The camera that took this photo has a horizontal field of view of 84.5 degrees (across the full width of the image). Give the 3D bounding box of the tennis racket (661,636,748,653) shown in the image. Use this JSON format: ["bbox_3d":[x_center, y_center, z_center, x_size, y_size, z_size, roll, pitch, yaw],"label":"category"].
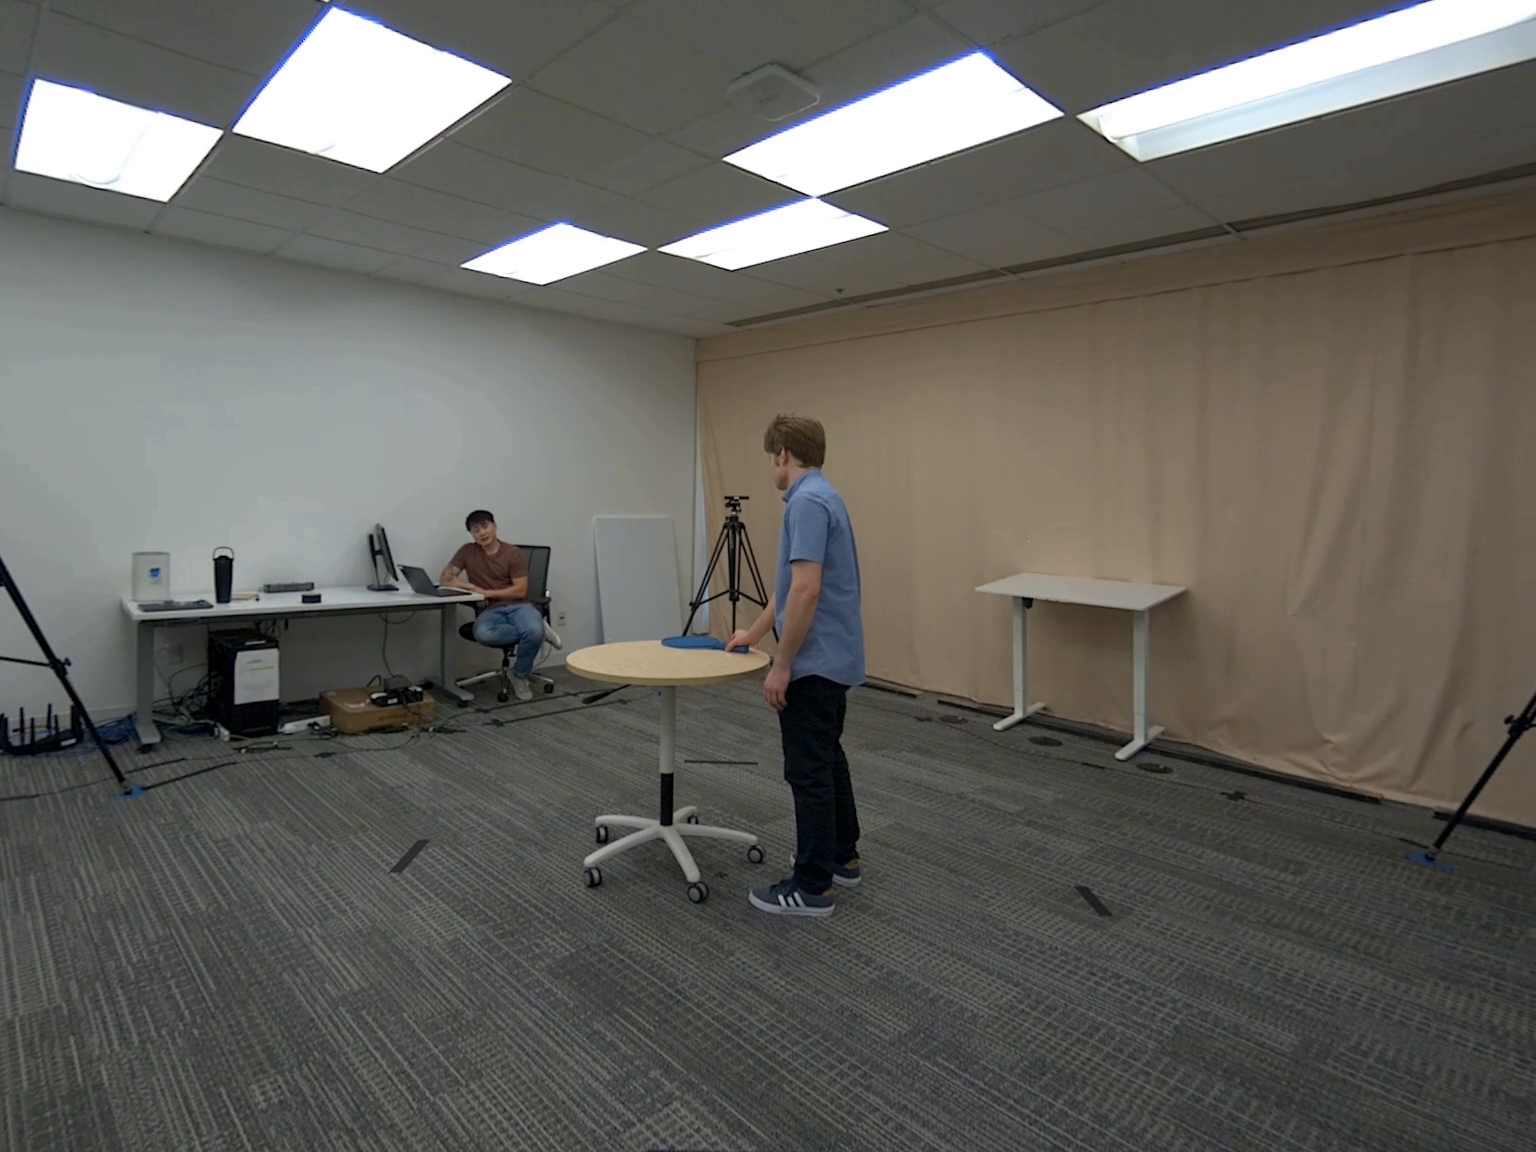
[{"bbox_3d":[-0.262,0.279,3.441,0.443,0.031,0.209,4,9,37],"label":"tennis racket"}]
